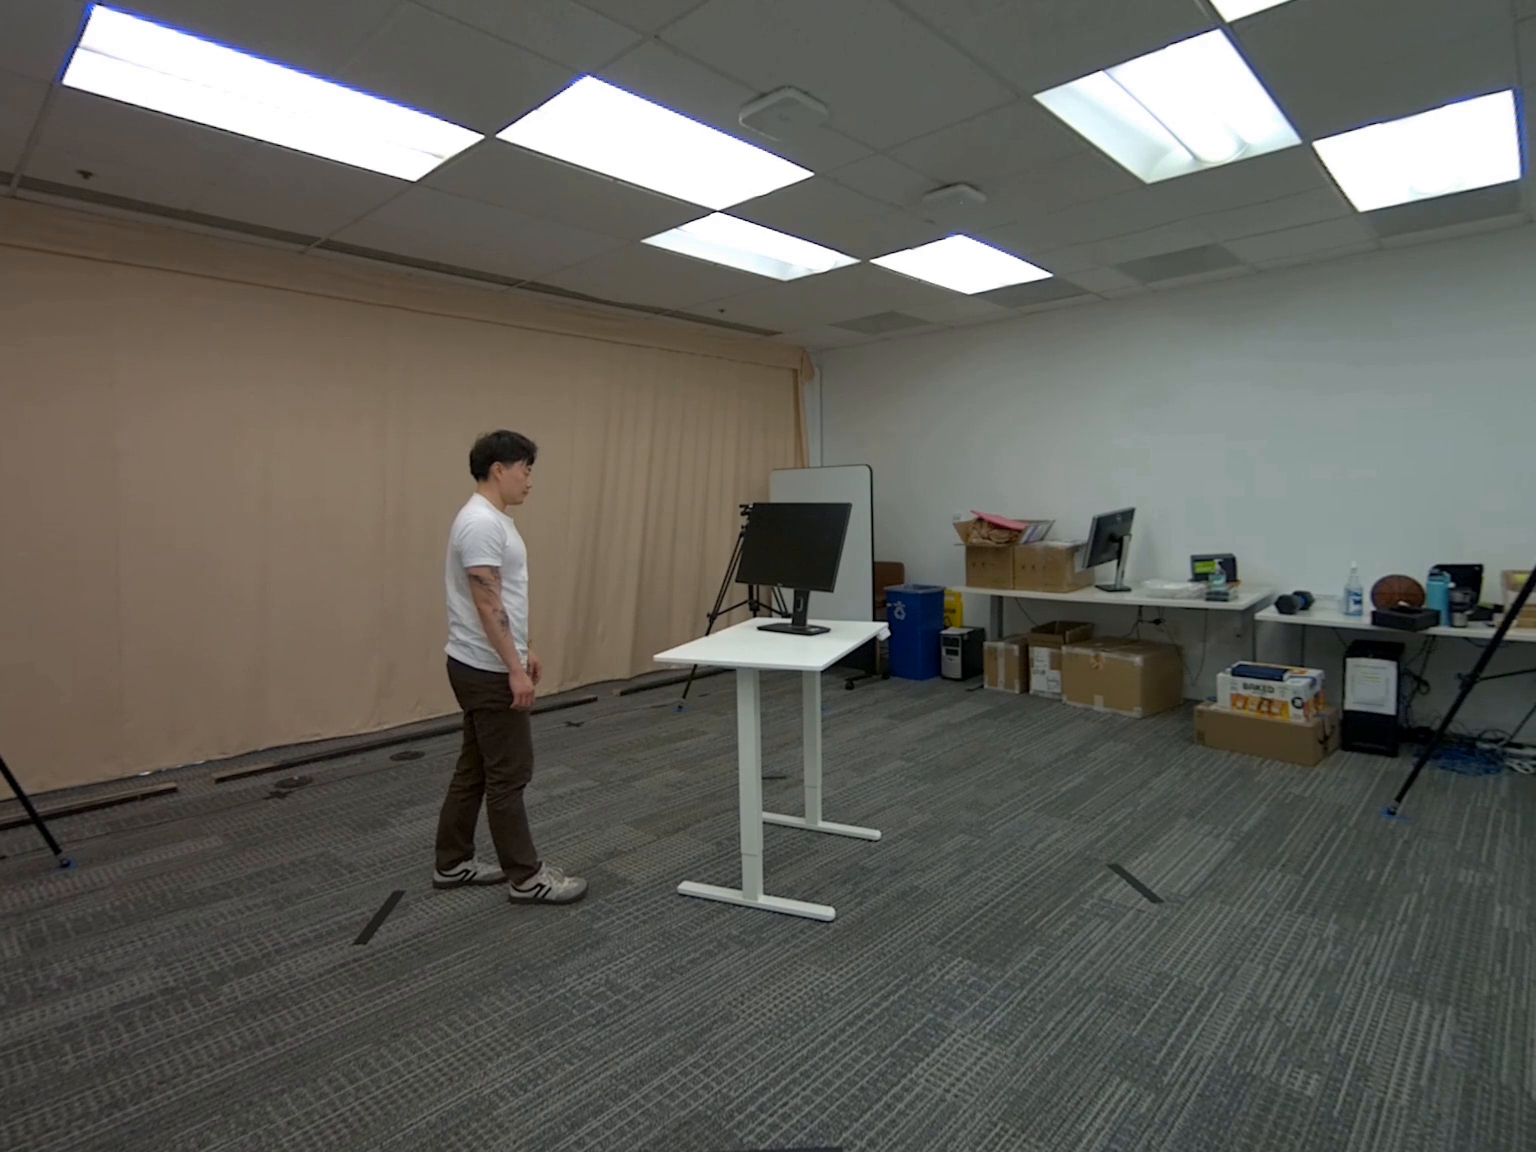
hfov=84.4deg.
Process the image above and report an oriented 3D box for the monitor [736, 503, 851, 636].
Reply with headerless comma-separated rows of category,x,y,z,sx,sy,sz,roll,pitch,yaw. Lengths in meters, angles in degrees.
monitor,0.115,-0.033,3.386,0.557,0.522,0.181,4,2,44
